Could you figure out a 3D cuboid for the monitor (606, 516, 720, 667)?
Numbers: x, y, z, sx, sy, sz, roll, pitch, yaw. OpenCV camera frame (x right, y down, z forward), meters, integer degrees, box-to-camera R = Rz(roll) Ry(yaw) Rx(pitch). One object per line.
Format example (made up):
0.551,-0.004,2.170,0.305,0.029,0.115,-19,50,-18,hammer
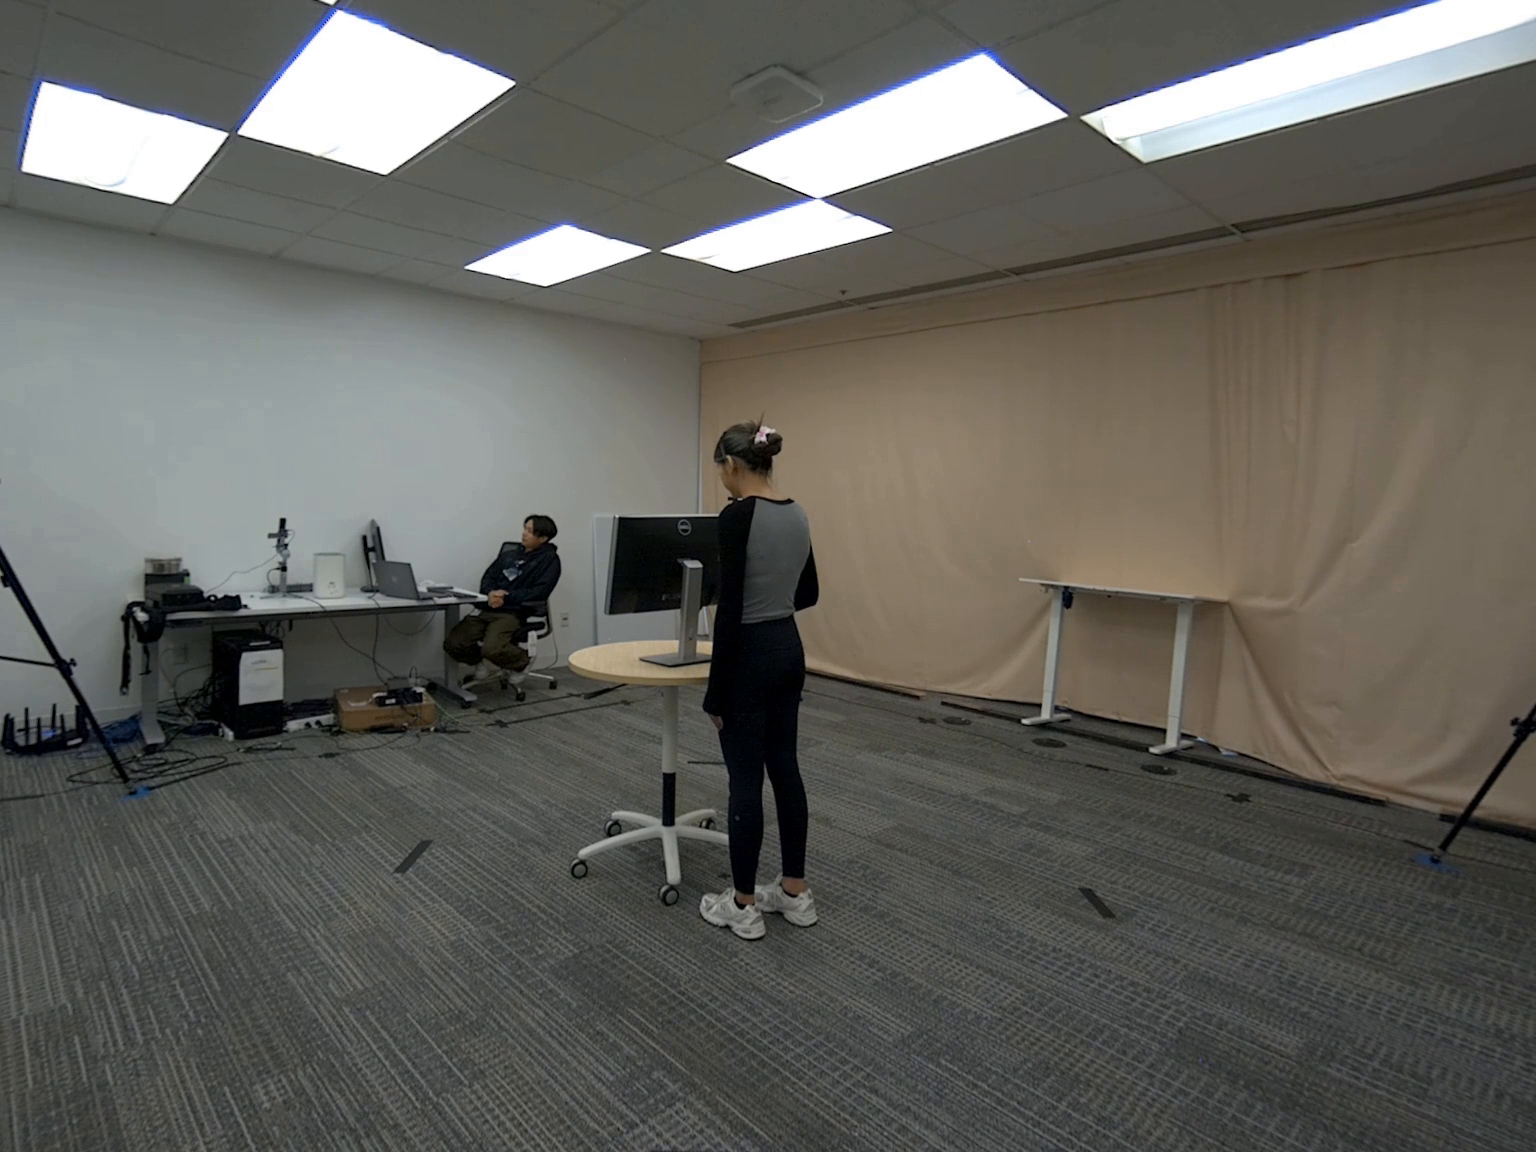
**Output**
-0.327,0.049,3.107,0.527,0.522,0.191,-3,3,-43,monitor
